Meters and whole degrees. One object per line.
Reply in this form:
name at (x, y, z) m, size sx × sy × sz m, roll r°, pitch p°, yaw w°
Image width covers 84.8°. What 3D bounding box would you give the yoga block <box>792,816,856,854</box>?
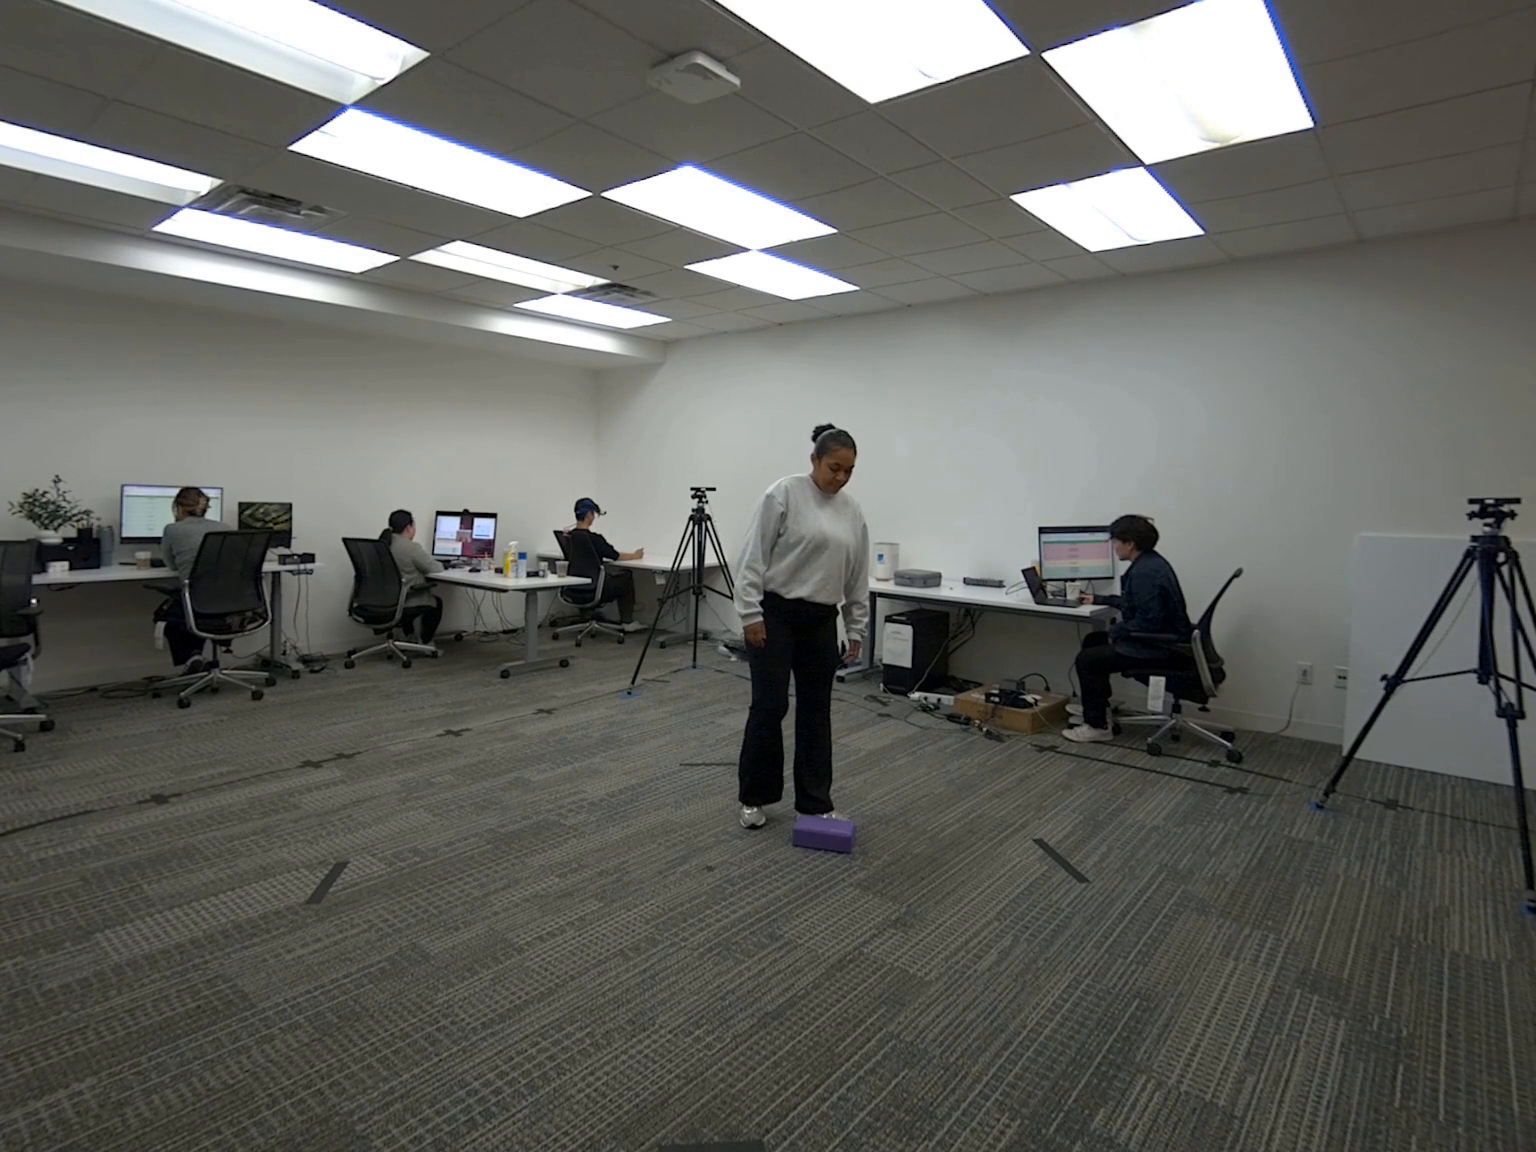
yoga block at (0.214, 1.010, 3.357) m, size 0.233 × 0.076 × 0.147 m, roll 3°, pitch 6°, yaw 15°
